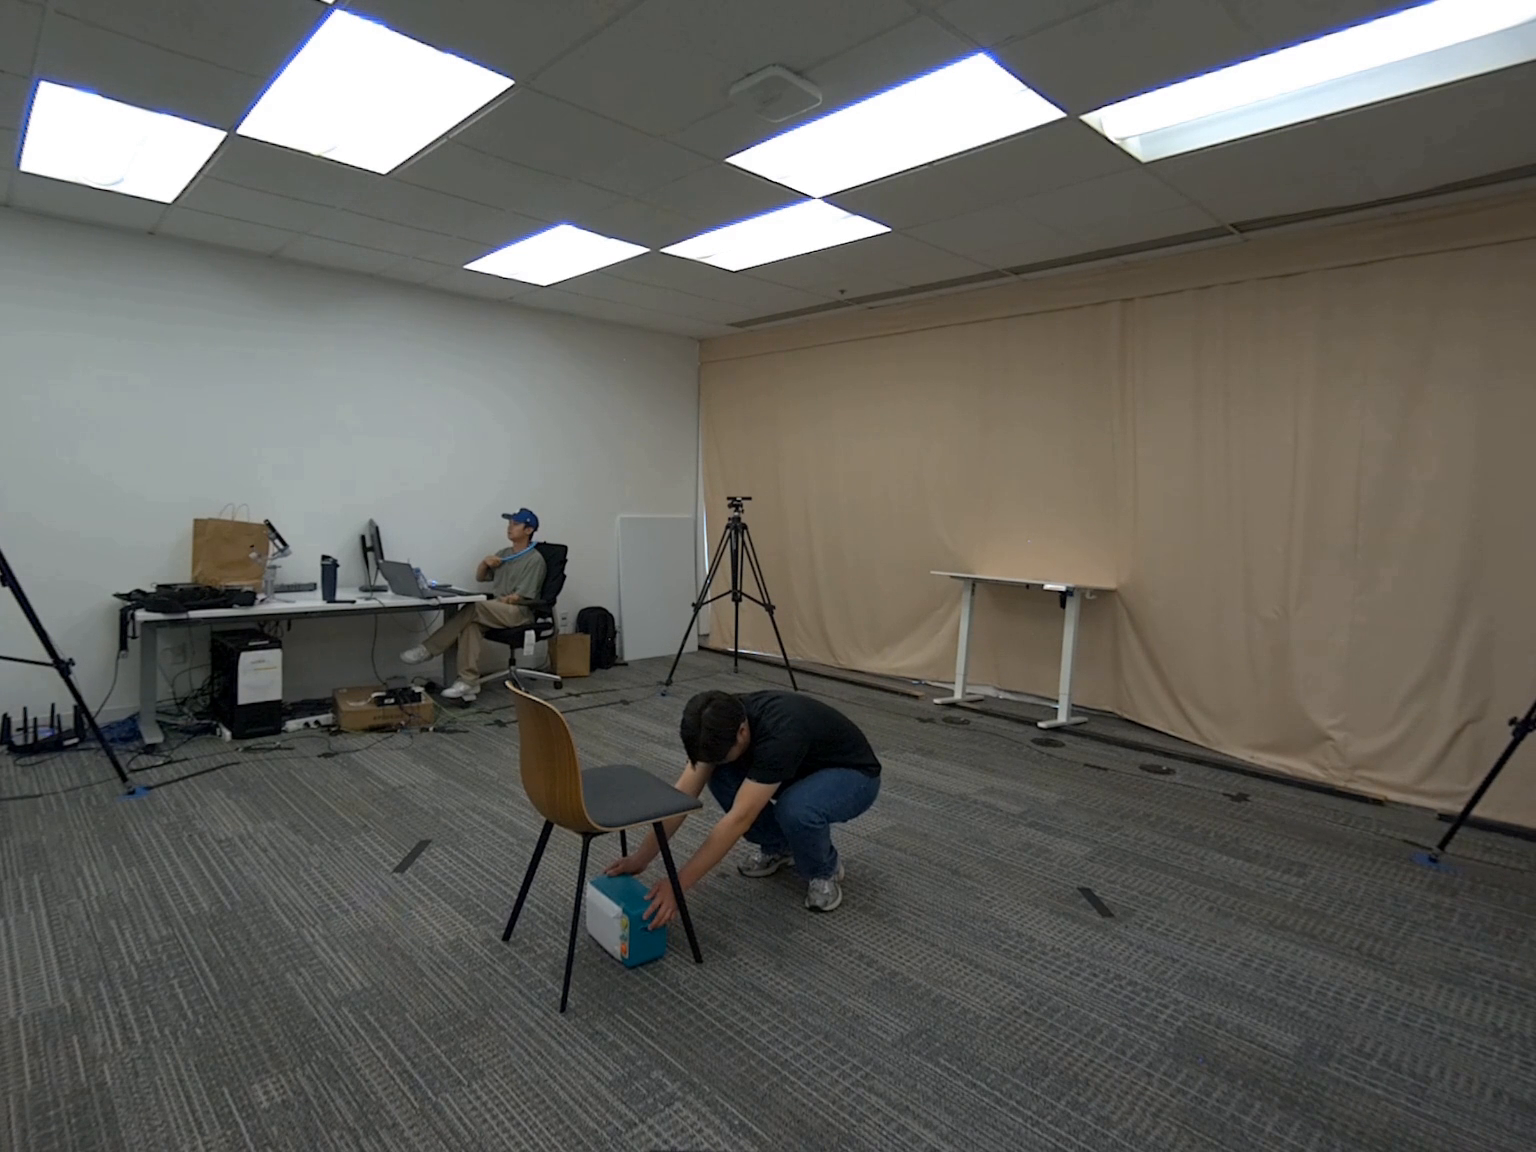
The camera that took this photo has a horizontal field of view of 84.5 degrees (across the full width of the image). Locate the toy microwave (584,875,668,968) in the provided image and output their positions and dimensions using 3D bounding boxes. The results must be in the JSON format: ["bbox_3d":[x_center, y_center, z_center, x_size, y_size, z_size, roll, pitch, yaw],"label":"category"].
[{"bbox_3d":[-0.449,1.061,2.588,0.149,0.183,0.293,-2,6,-37],"label":"toy microwave"}]
